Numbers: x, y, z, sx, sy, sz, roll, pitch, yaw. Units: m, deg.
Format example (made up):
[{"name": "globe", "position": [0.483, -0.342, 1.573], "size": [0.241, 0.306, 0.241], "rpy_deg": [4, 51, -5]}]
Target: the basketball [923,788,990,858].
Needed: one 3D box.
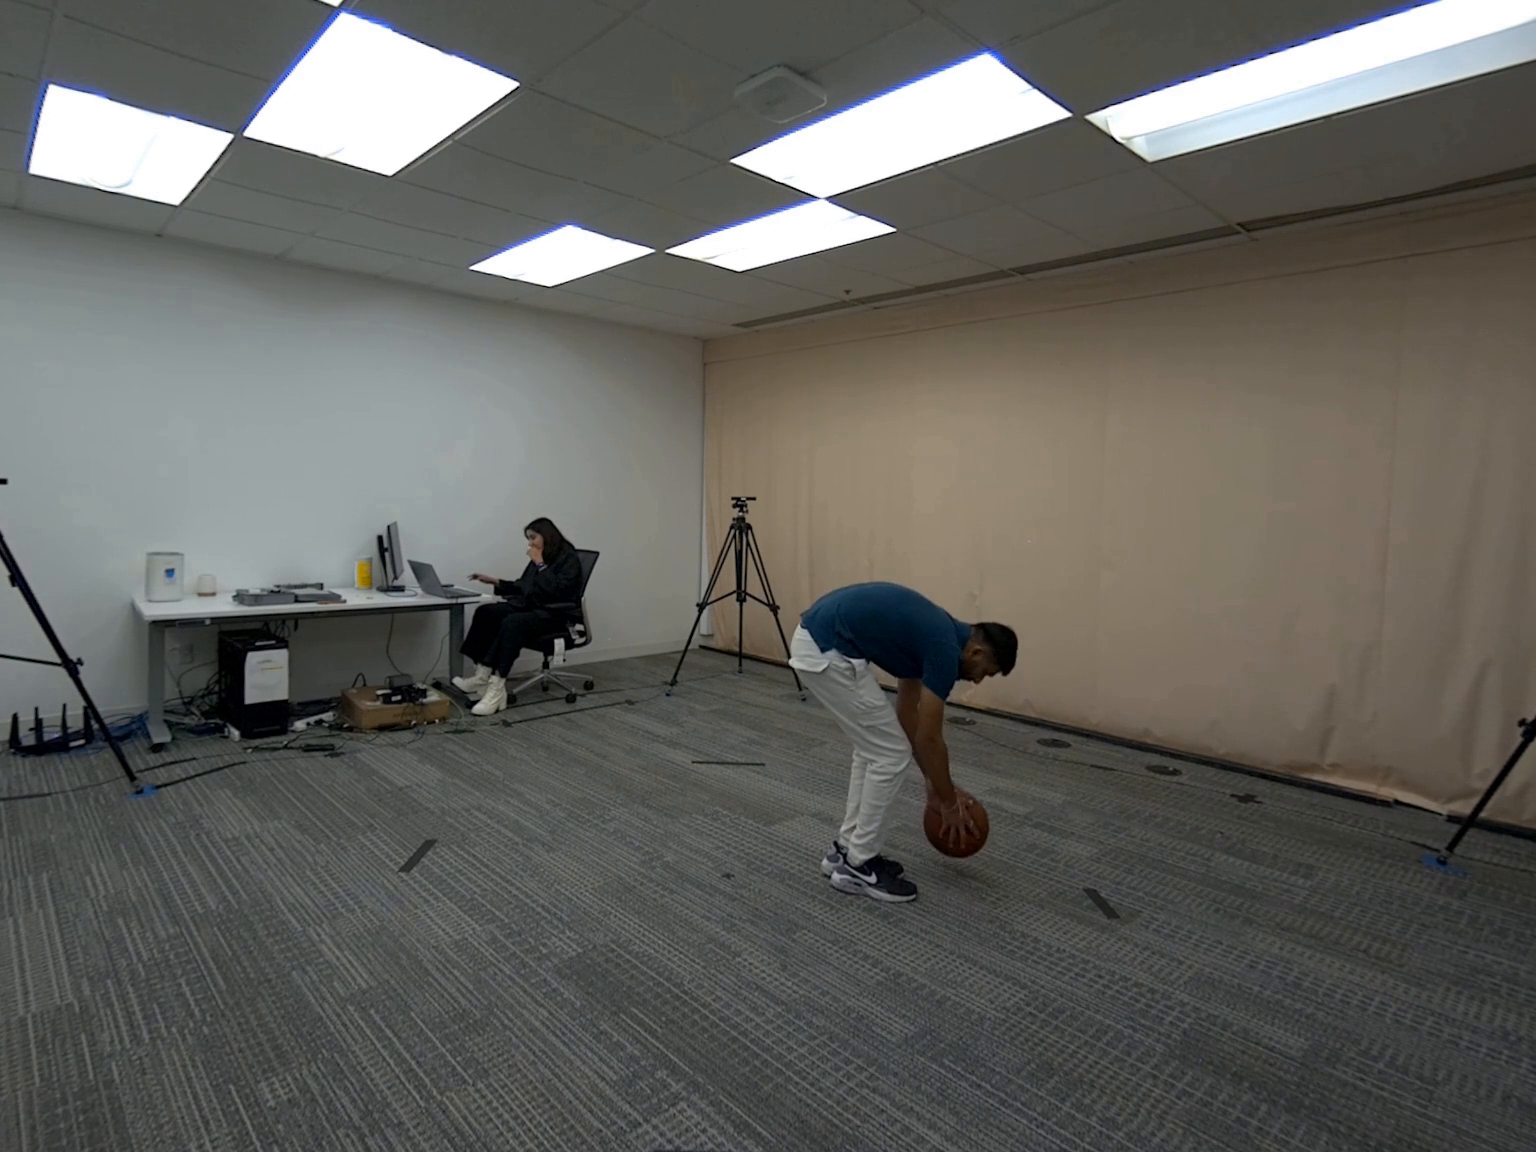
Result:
[{"name": "basketball", "position": [0.696, 0.899, 3.135], "size": [0.236, 0.235, 0.237], "rpy_deg": [1, 4, -1]}]
